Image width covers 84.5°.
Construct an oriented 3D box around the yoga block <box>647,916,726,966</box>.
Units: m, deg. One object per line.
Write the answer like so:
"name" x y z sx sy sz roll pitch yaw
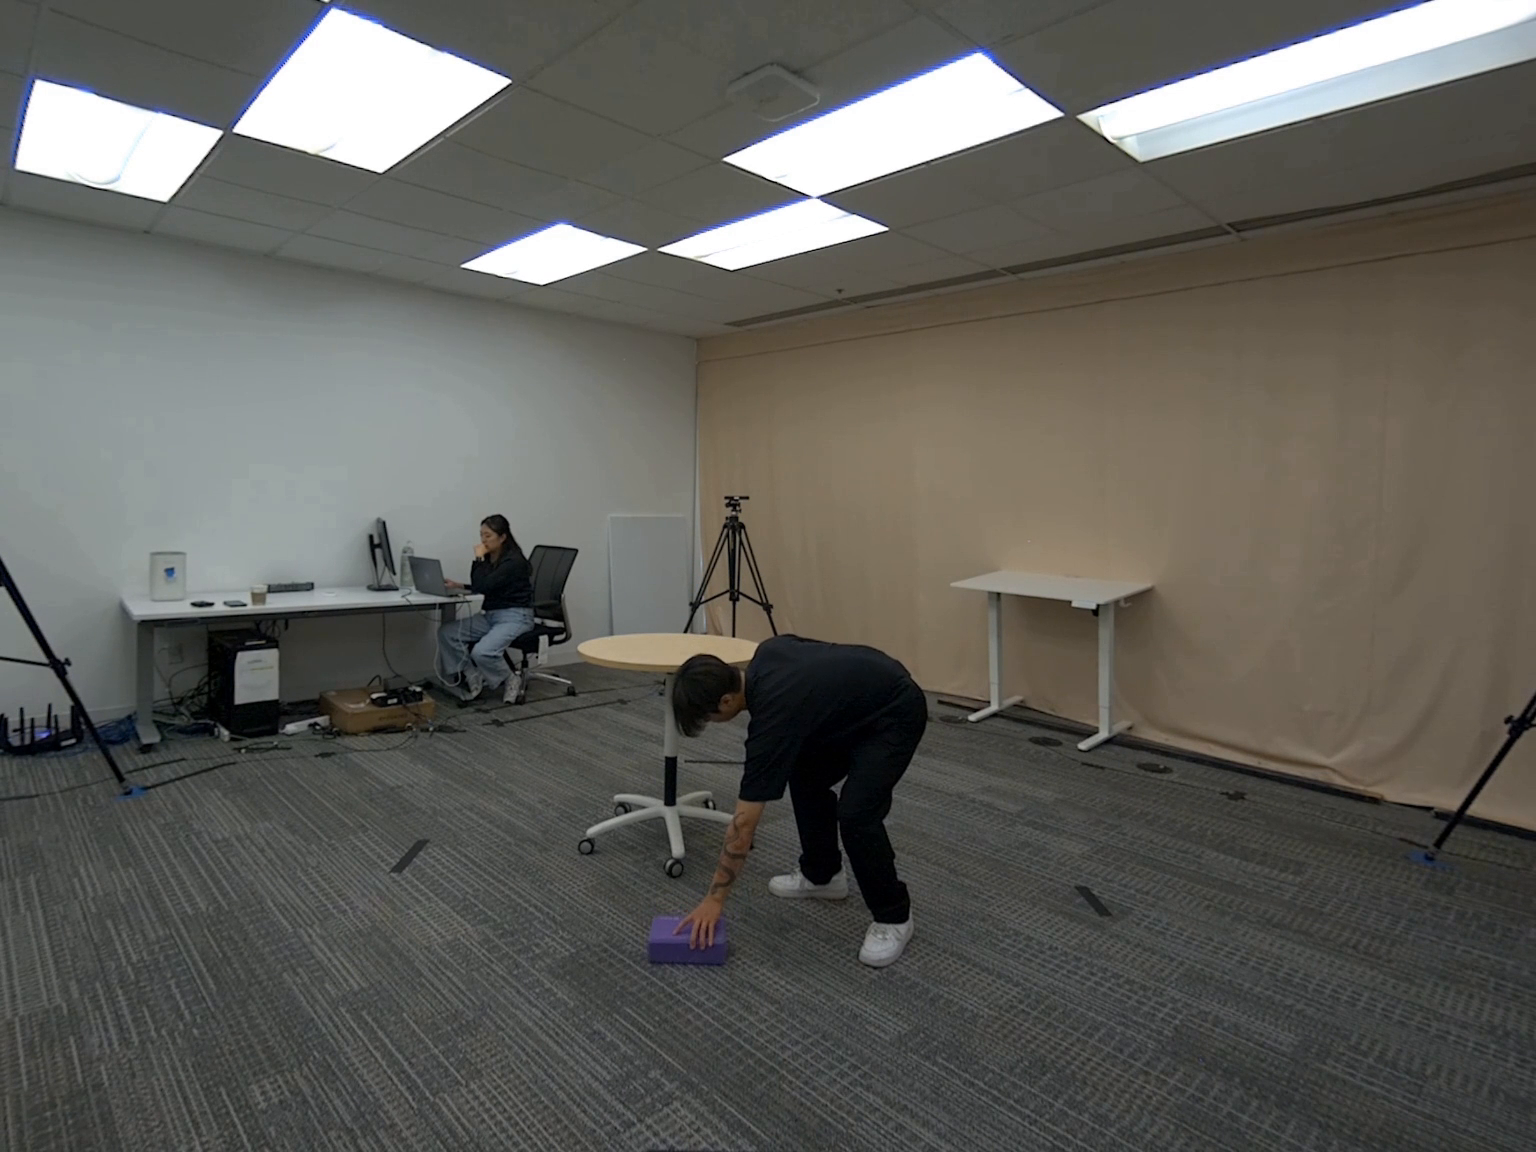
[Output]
"yoga block" -0.249 1.106 2.567 0.229 0.076 0.149 1 5 1
